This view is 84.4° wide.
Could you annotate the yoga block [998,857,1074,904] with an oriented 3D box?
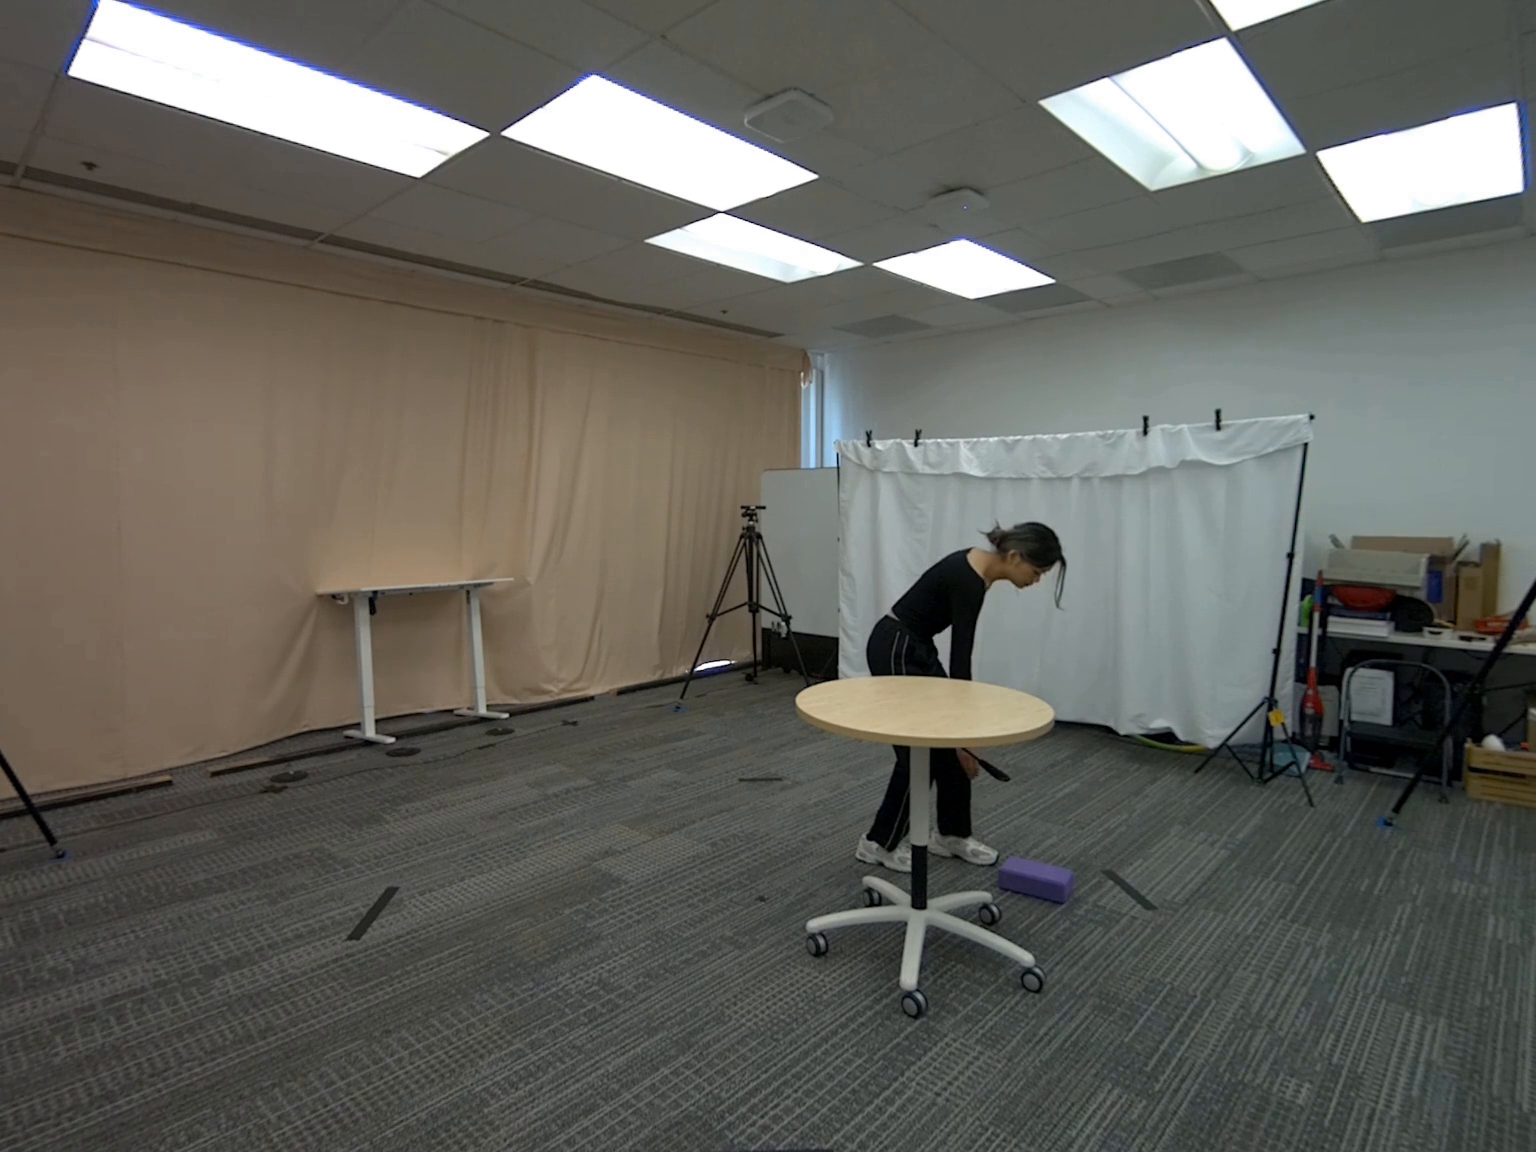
[{"bbox_3d":[0.976,1.095,3.048,0.236,0.076,0.145,4,5,33],"label":"yoga block"}]
